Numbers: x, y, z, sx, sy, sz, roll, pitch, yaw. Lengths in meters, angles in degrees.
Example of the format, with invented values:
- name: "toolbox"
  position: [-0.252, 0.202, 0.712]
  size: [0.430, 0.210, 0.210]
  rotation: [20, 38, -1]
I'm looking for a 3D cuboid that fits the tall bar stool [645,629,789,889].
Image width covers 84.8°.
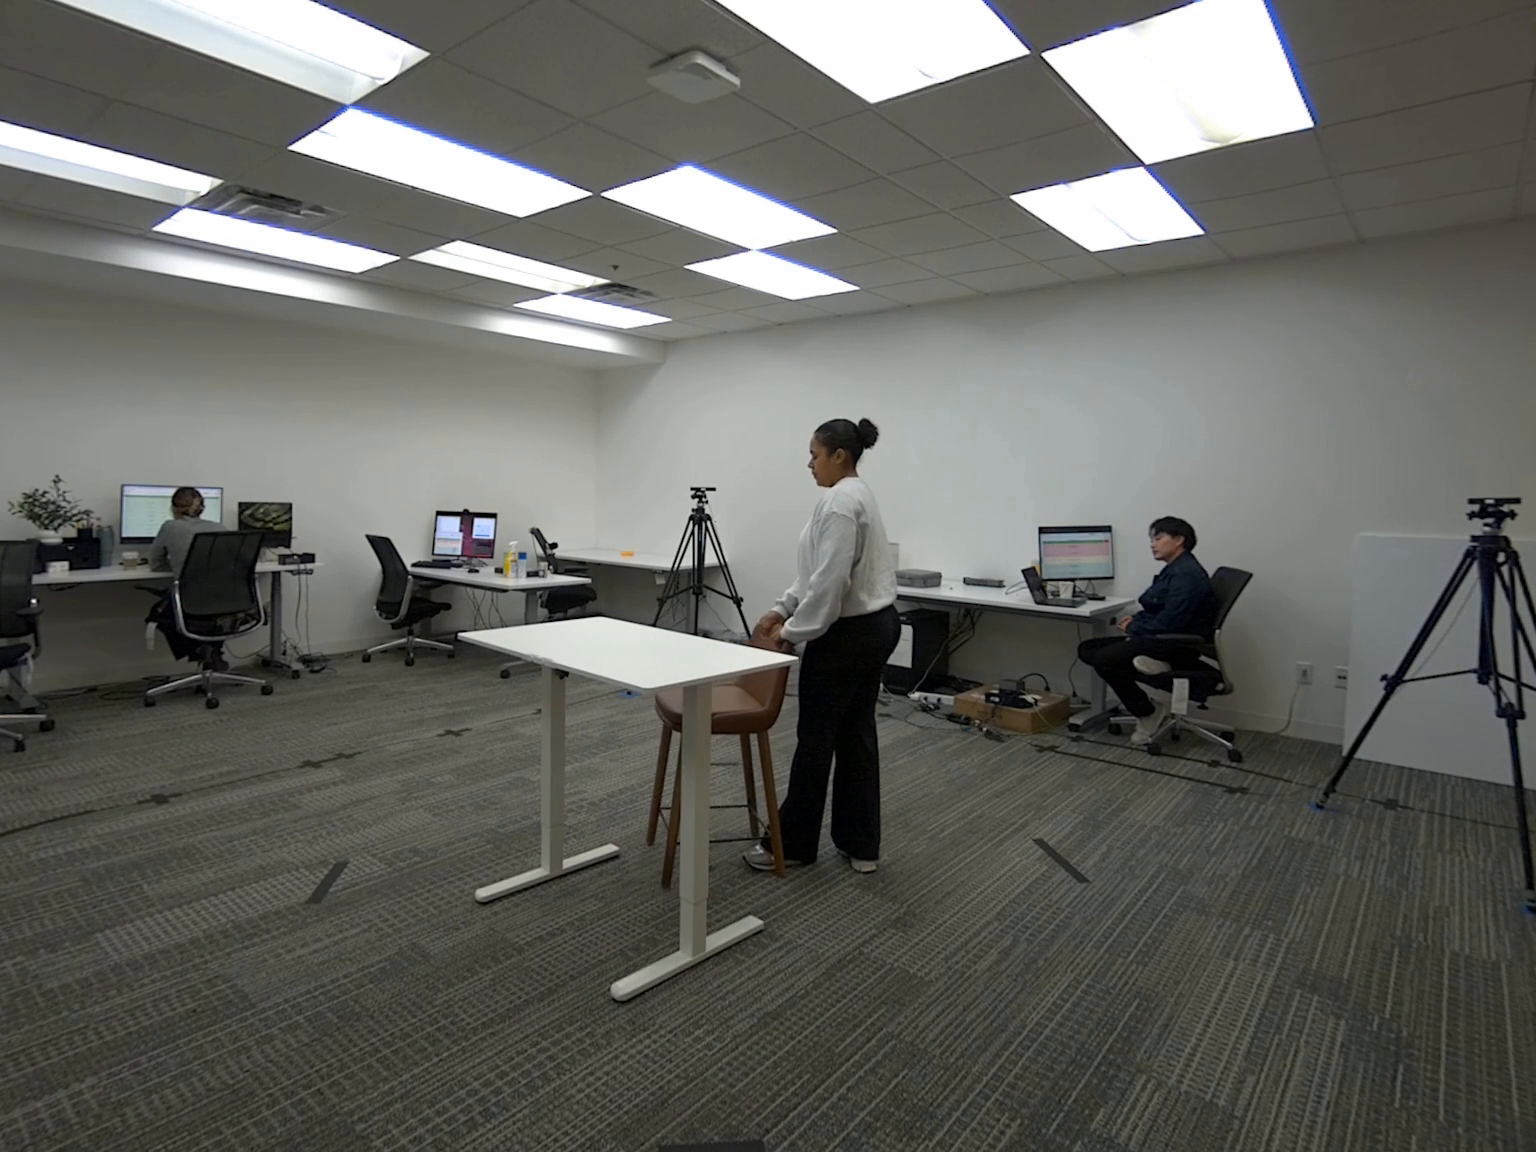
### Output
- name: "tall bar stool"
  position: [-0.195, 0.623, 3.166]
  size: [0.460, 0.888, 0.465]
  rotation: [4, 2, -15]
